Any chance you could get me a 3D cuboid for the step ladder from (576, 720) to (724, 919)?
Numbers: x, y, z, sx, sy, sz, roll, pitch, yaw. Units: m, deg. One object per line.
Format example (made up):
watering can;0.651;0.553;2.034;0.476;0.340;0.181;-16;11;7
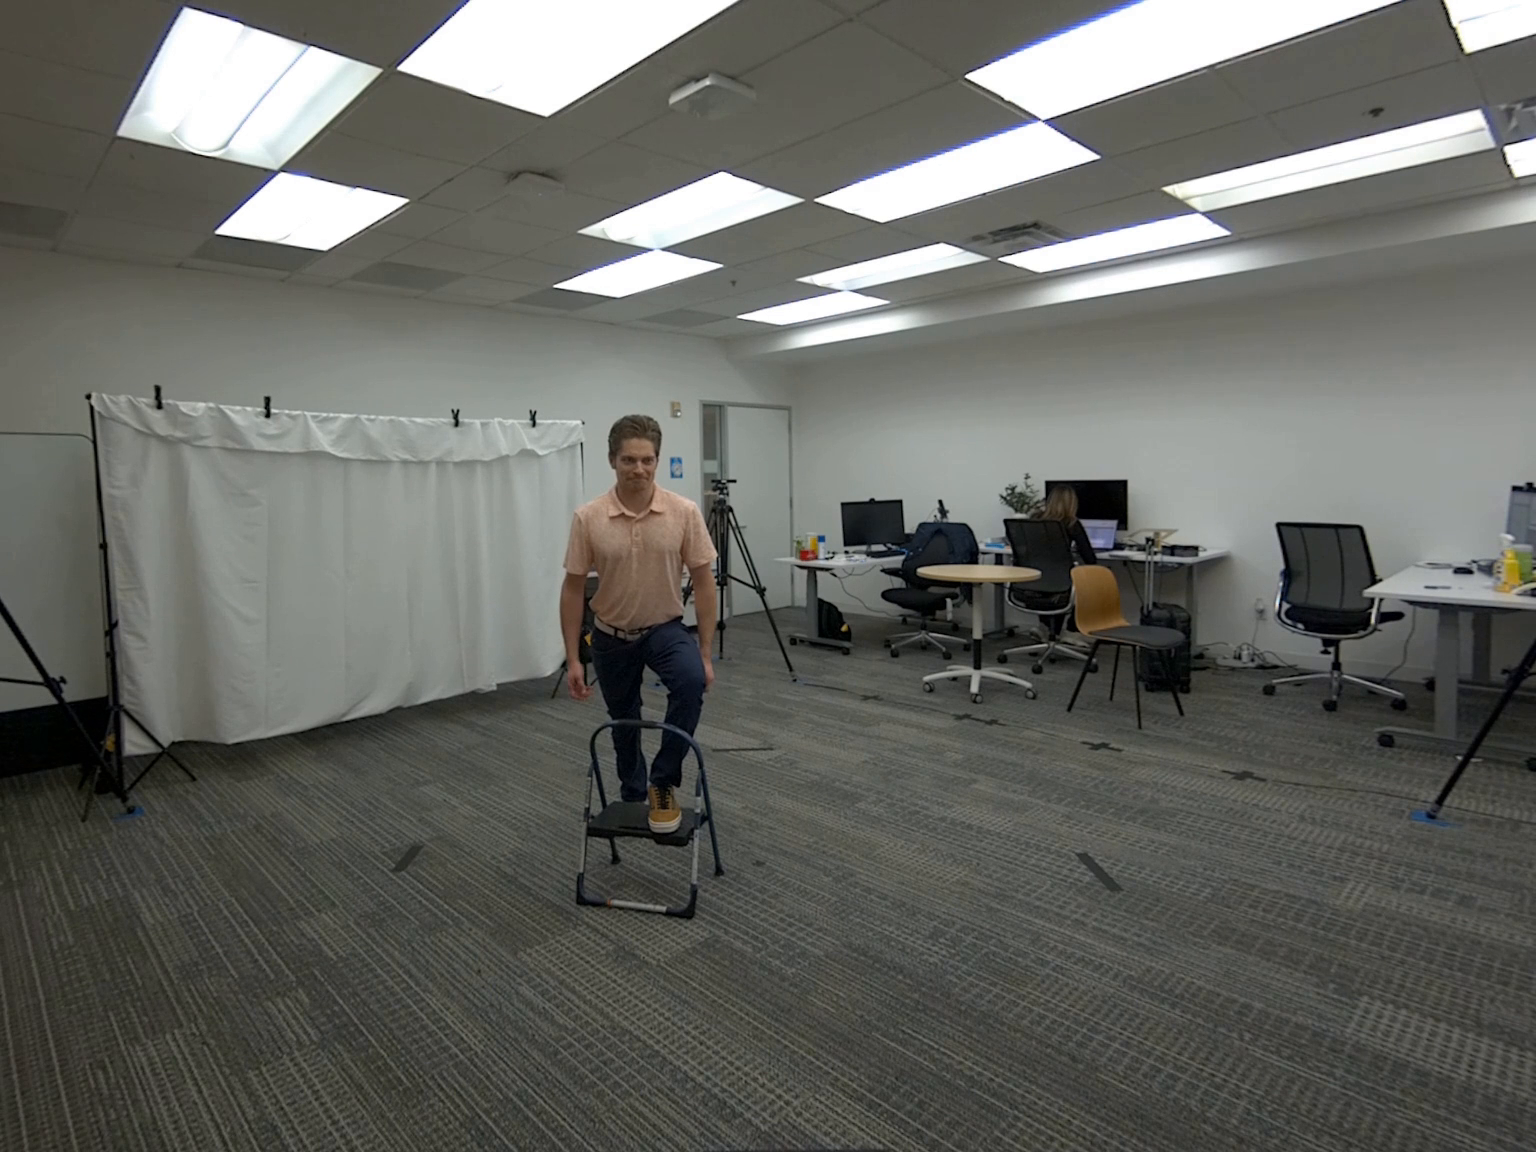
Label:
step ladder;-0.404;0.773;2.921;0.437;0.604;0.345;0;4;14
